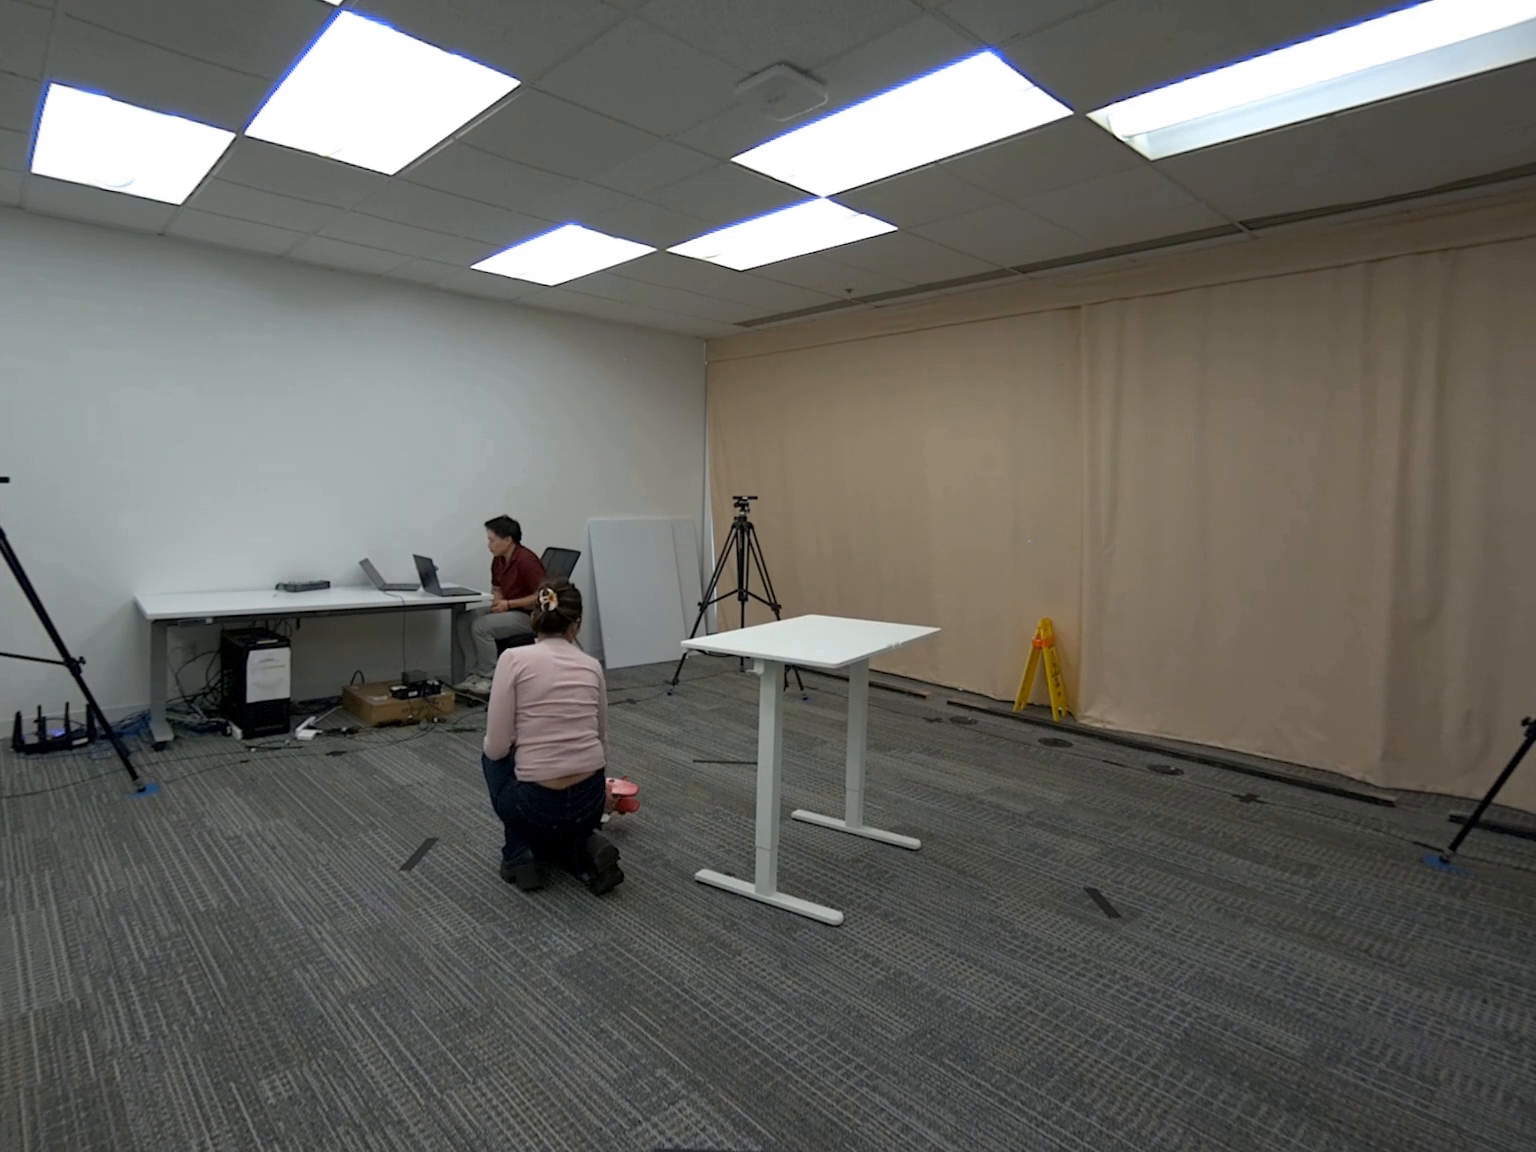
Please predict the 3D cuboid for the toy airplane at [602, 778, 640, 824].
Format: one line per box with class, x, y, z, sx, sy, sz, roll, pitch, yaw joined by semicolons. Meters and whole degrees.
toy airplane;-0.662;0.941;3.463;0.248;0.156;0.263;2;6;-14
